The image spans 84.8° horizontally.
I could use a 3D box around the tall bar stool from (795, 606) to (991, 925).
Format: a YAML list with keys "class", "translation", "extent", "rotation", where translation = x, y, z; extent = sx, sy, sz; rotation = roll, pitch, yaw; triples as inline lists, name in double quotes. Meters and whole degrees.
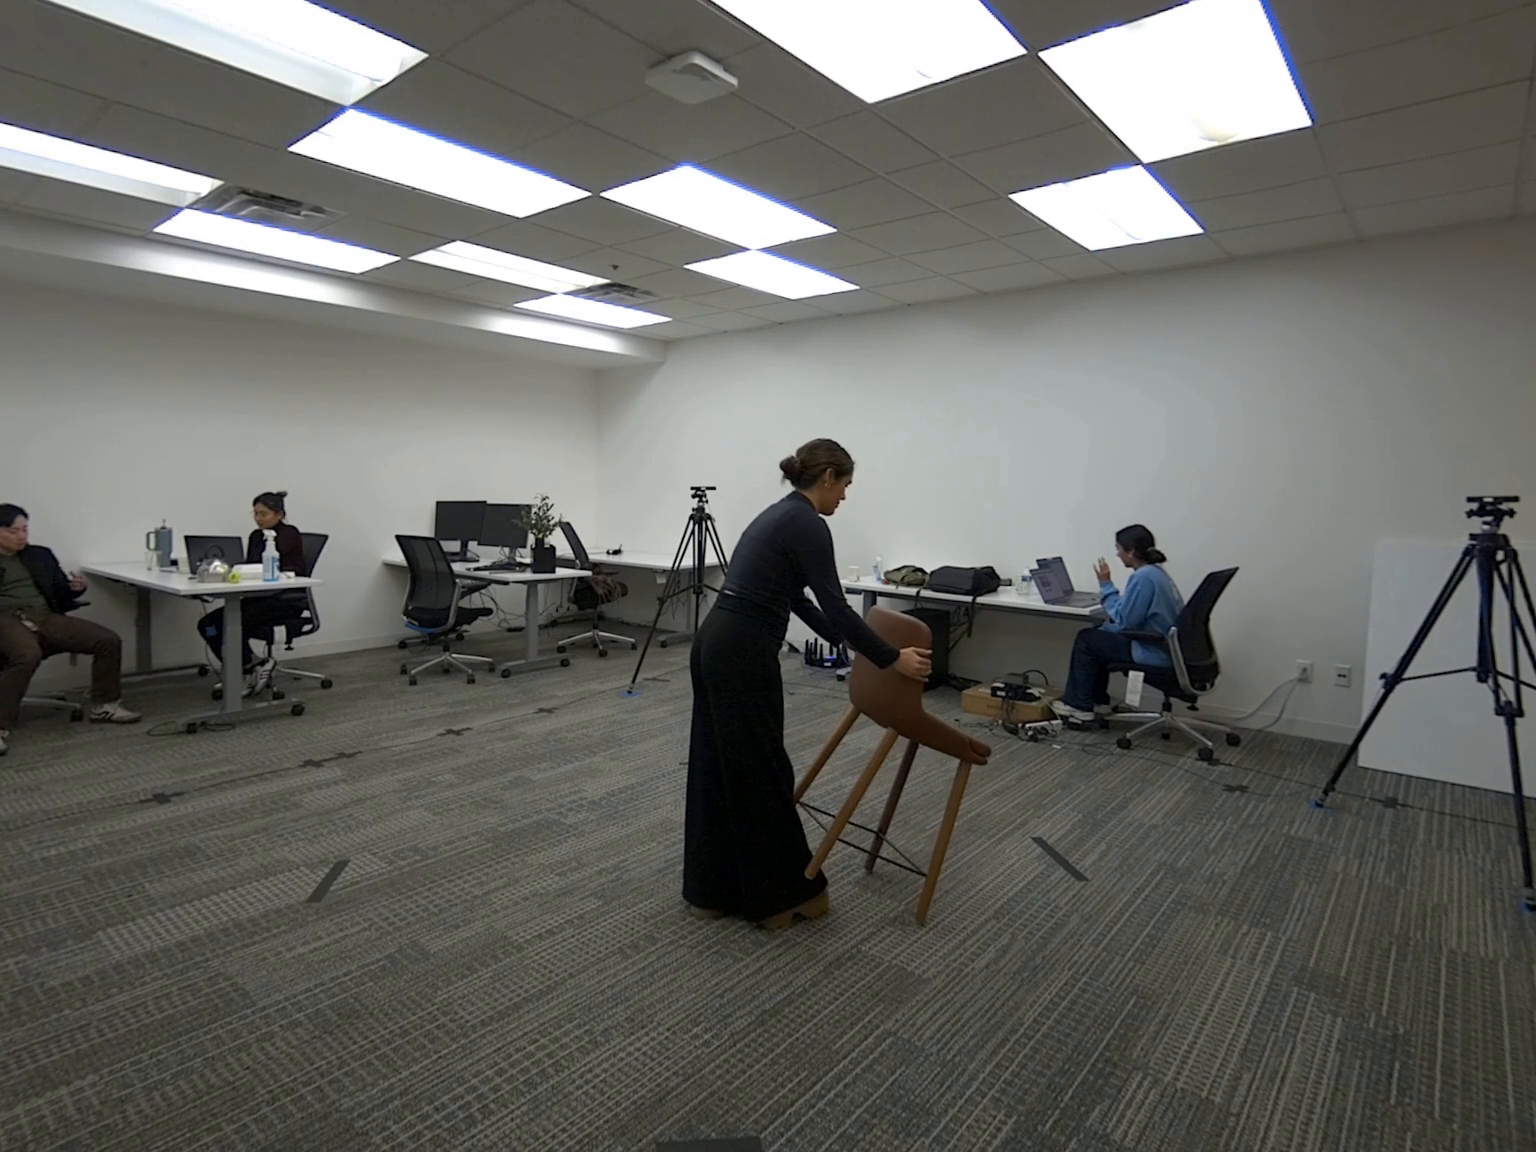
- class: "tall bar stool"
  translation: [0.427, 0.610, 2.891]
  extent: [0.456, 0.891, 0.468]
  rotation: [24, -3, -20]
